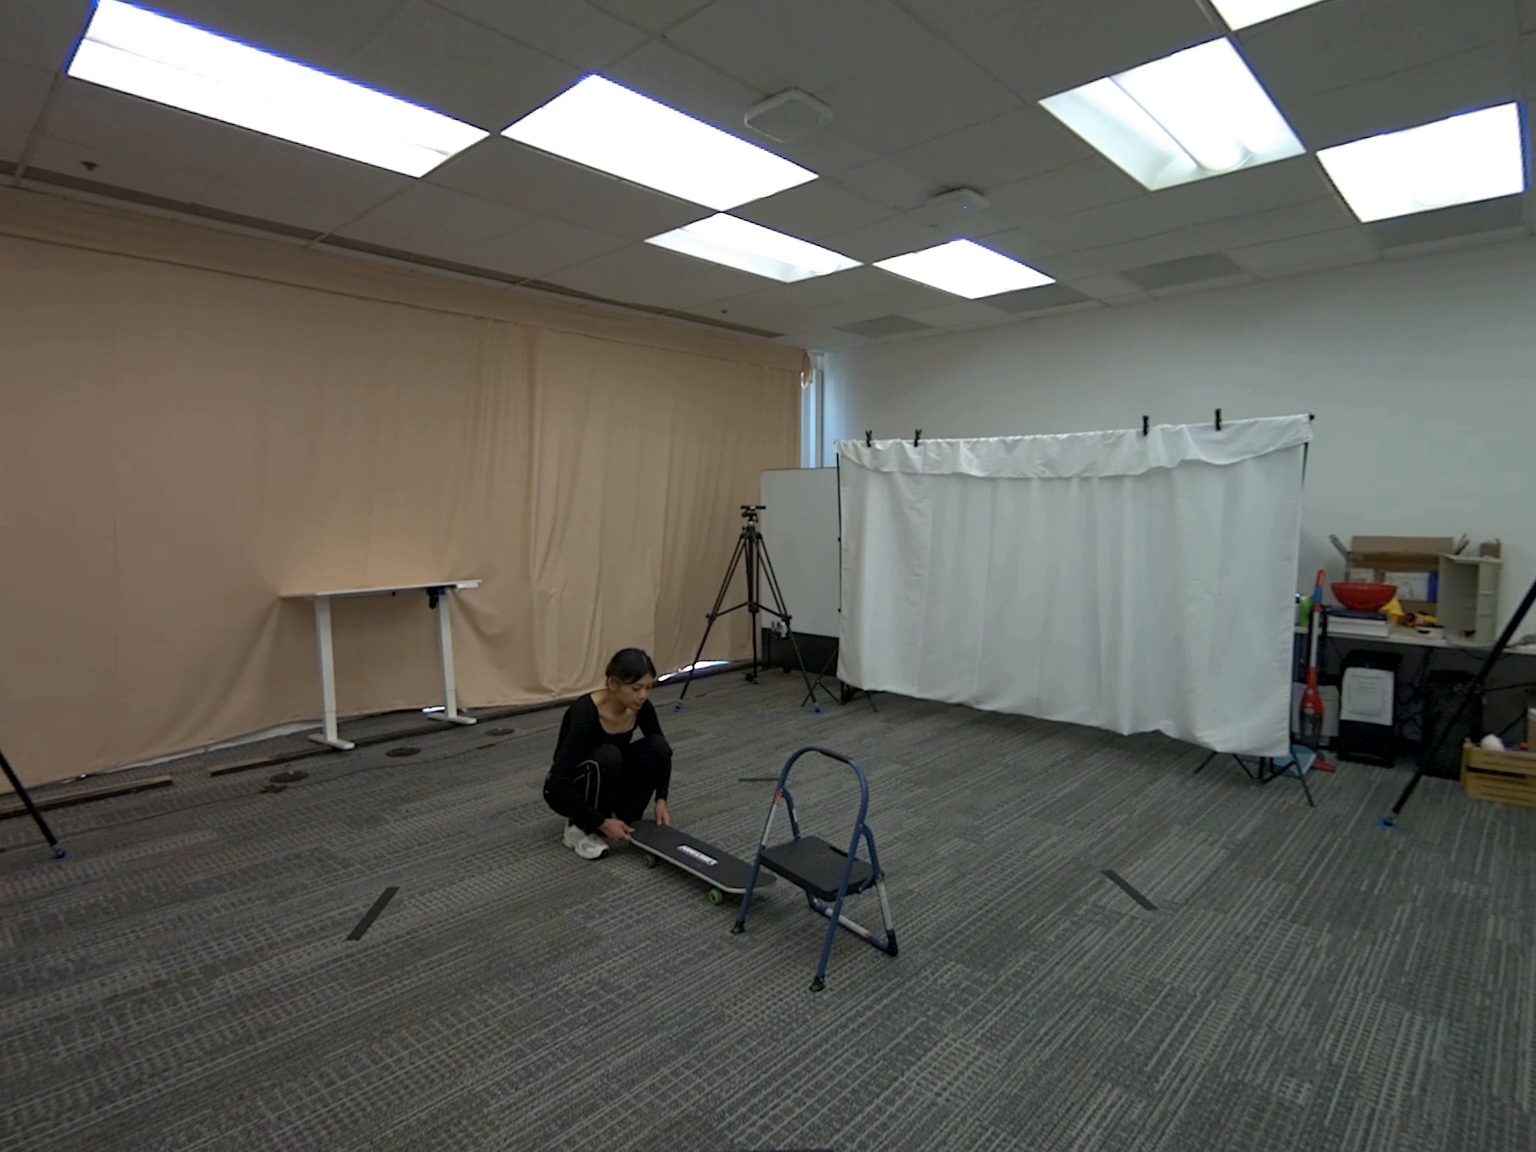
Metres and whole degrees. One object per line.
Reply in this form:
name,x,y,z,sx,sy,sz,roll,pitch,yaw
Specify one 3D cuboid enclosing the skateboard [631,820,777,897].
skateboard,-0.264,1.079,3.149,0.187,0.110,0.811,-3,5,-41
